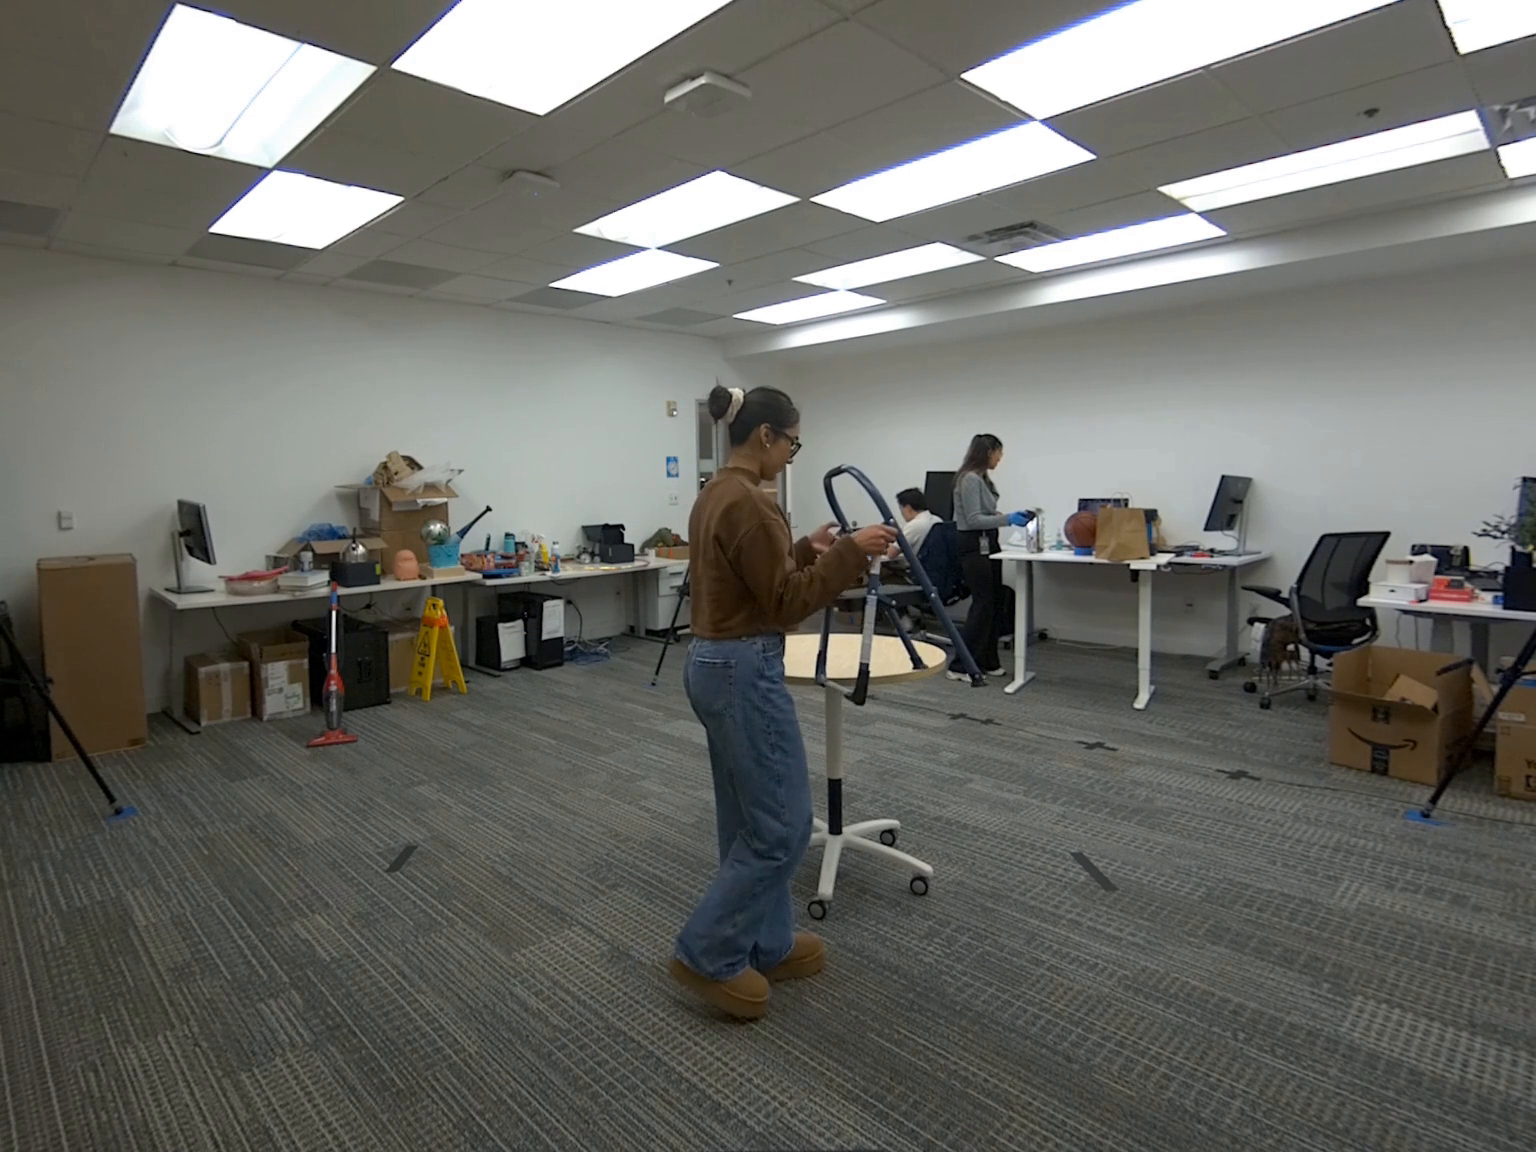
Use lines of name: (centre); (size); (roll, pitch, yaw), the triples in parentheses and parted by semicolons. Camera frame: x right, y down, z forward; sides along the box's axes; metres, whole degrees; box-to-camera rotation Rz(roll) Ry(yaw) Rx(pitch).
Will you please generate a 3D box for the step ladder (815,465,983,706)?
step ladder: (0.298, -0.001, 2.322); (0.346, 0.607, 0.434); (-7, -1, -11)
